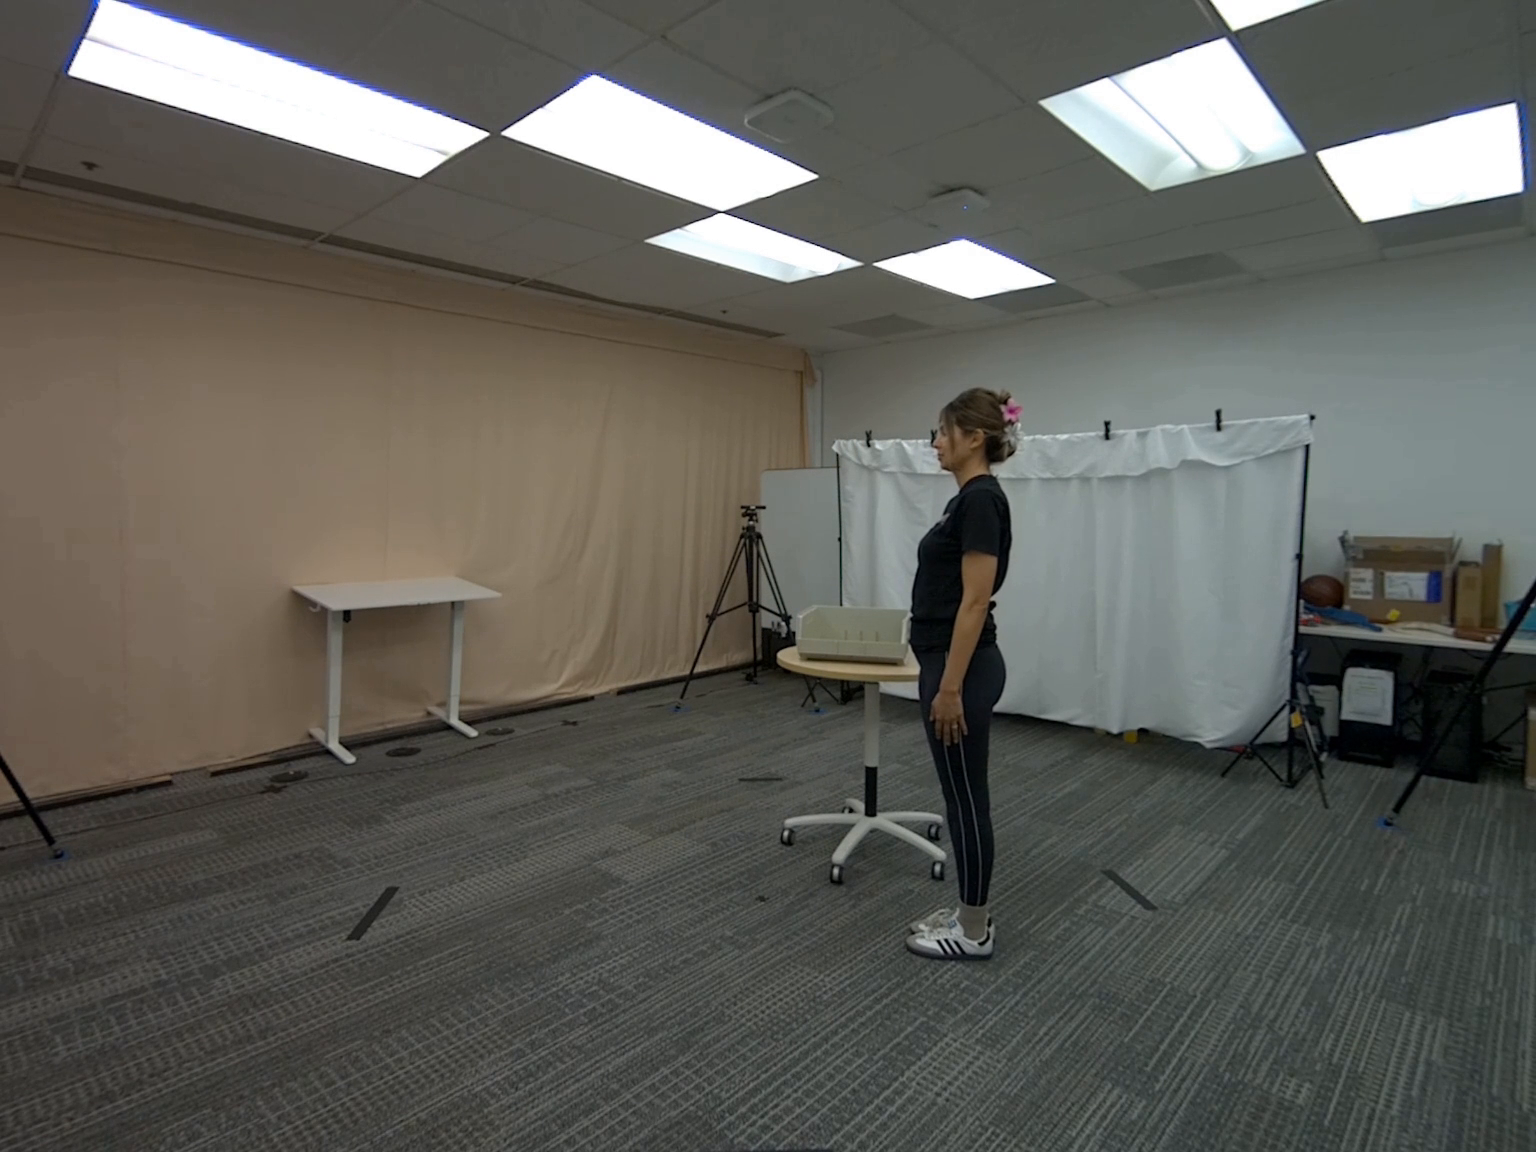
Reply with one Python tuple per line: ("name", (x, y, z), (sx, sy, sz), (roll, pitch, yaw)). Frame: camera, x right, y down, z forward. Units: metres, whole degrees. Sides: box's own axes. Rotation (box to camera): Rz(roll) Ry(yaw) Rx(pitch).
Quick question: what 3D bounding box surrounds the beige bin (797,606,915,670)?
("beige bin", (0.358, 0.236, 3.363), (0.429, 0.189, 0.371), (1, 2, 15))
